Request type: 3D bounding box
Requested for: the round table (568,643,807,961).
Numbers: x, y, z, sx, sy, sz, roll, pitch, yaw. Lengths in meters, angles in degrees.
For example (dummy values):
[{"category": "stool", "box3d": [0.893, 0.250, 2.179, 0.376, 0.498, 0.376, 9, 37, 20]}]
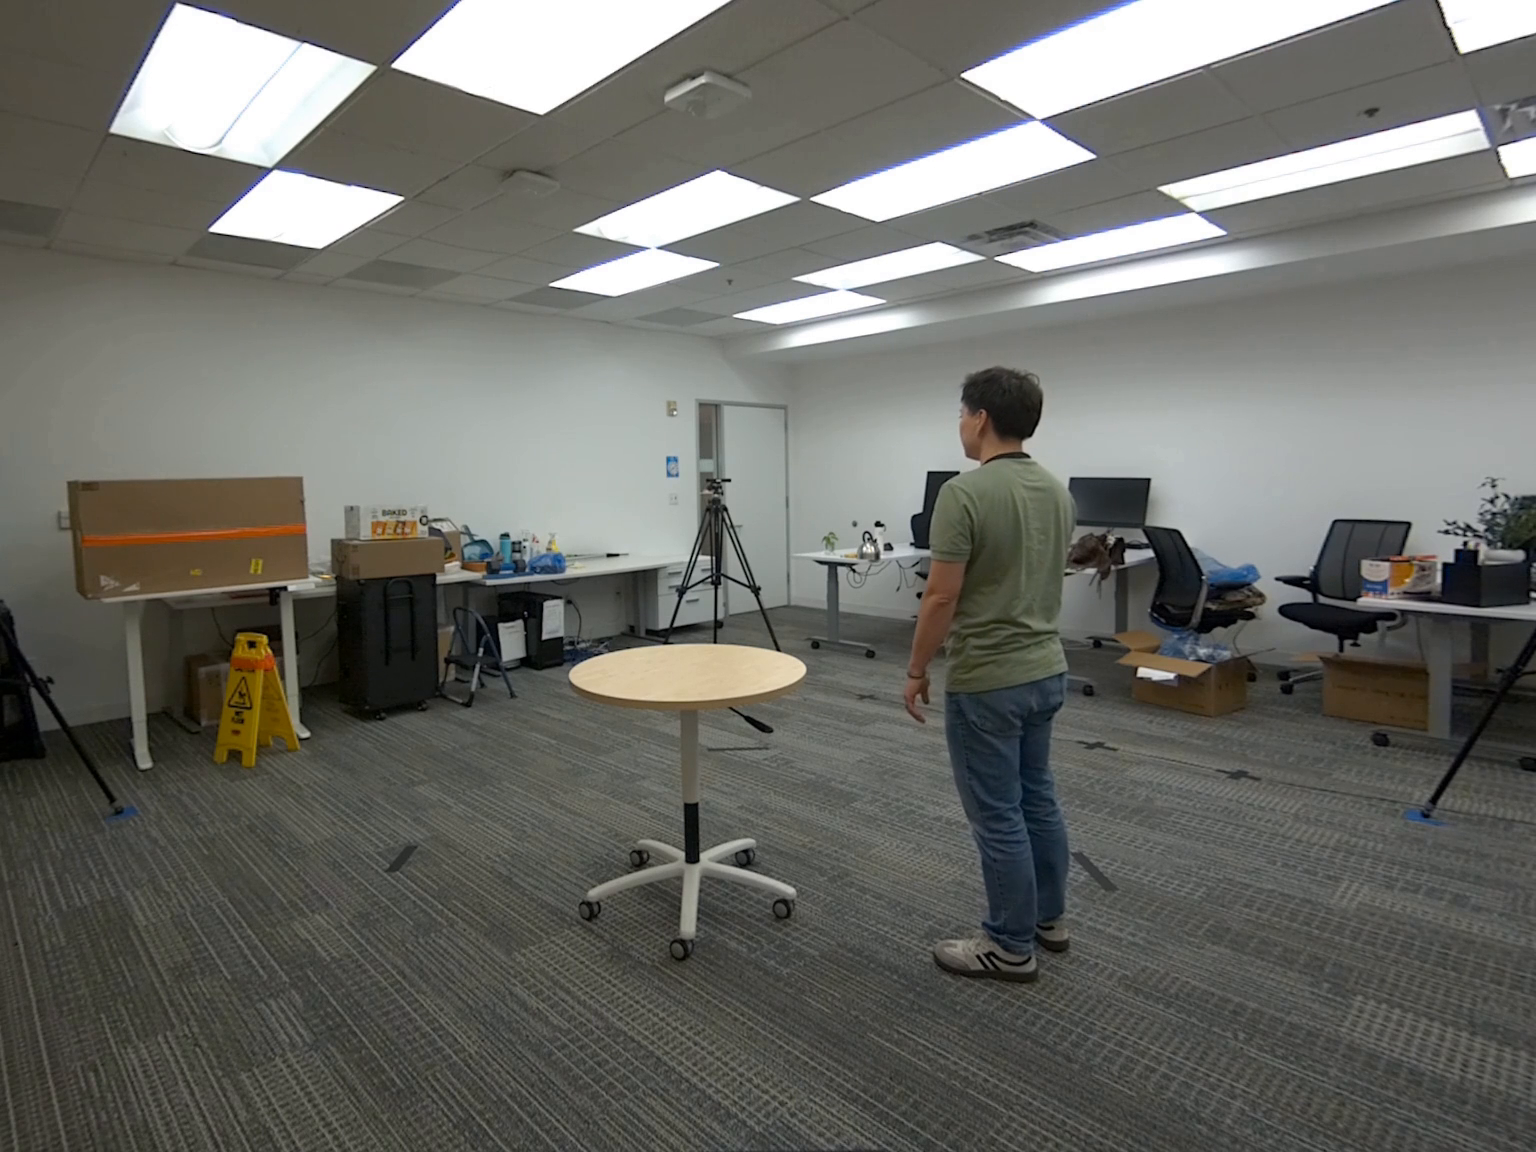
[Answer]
[{"category": "round table", "box3d": [-0.250, 0.692, 2.808, 0.763, 0.790, 0.768, -1, 6, -2]}]
